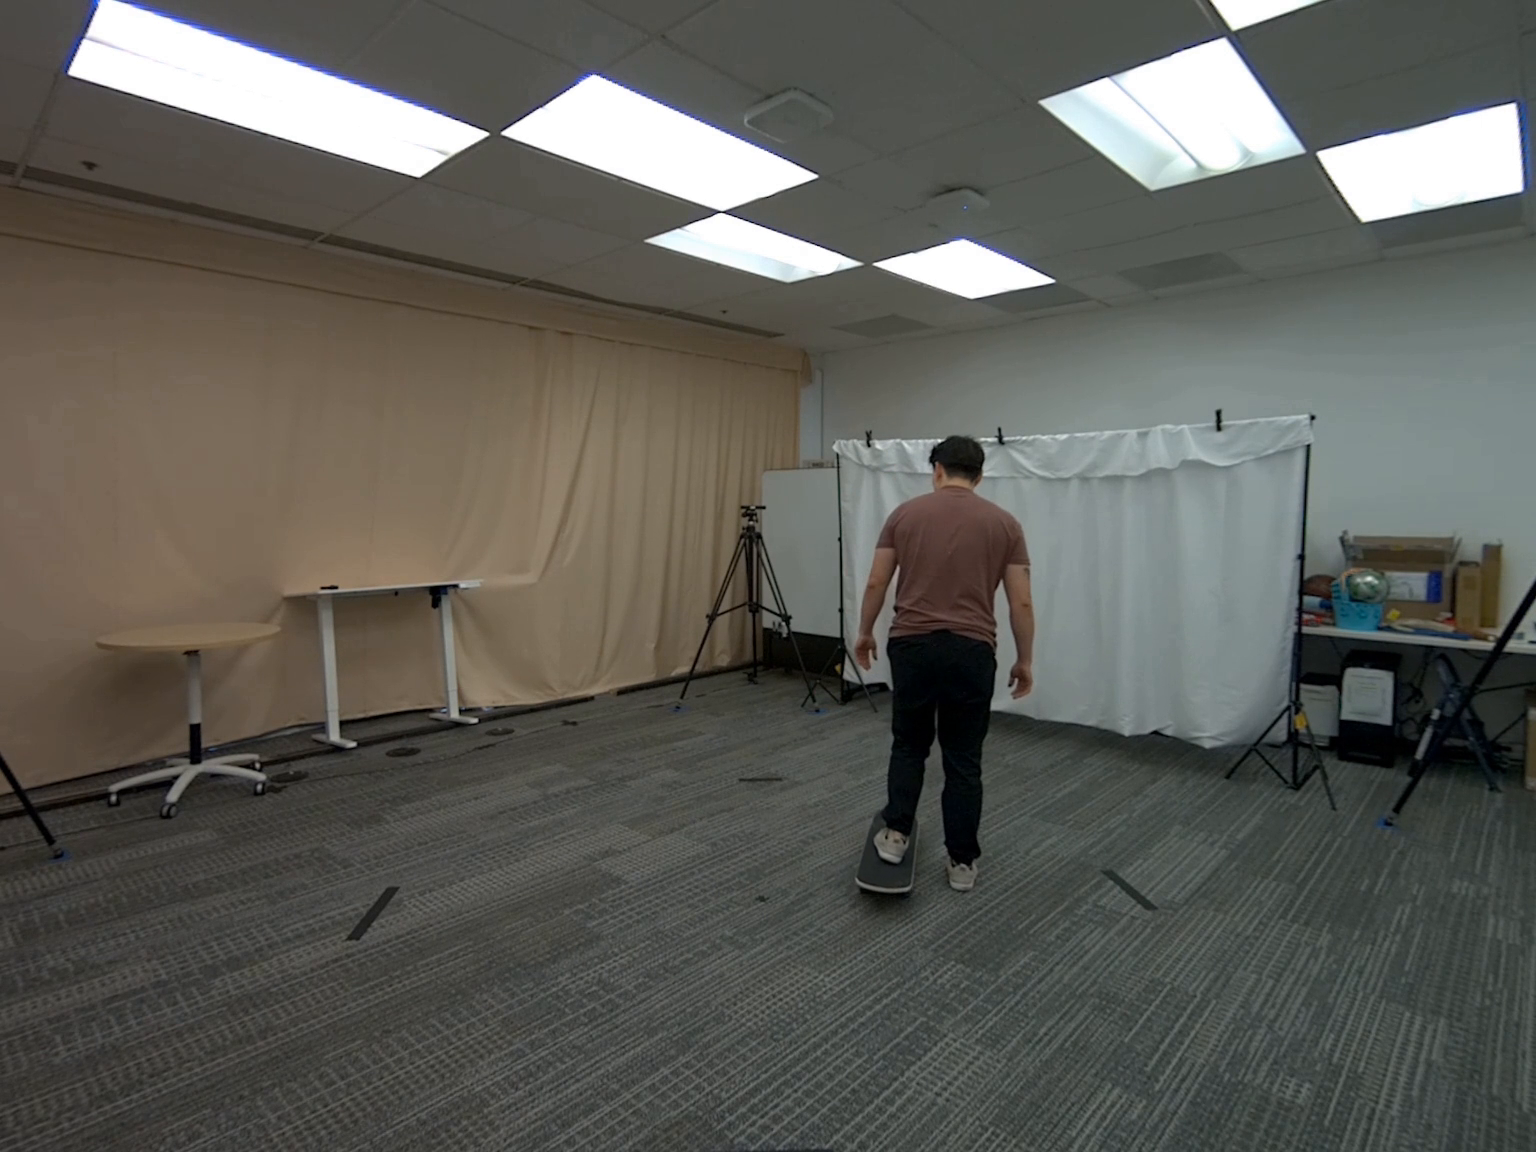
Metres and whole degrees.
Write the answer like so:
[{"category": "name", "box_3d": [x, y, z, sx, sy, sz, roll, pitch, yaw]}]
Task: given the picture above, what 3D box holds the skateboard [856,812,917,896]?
[{"category": "skateboard", "box_3d": [0.470, 1.067, 3.196, 0.196, 0.110, 0.775, 1, 5, 13]}]
